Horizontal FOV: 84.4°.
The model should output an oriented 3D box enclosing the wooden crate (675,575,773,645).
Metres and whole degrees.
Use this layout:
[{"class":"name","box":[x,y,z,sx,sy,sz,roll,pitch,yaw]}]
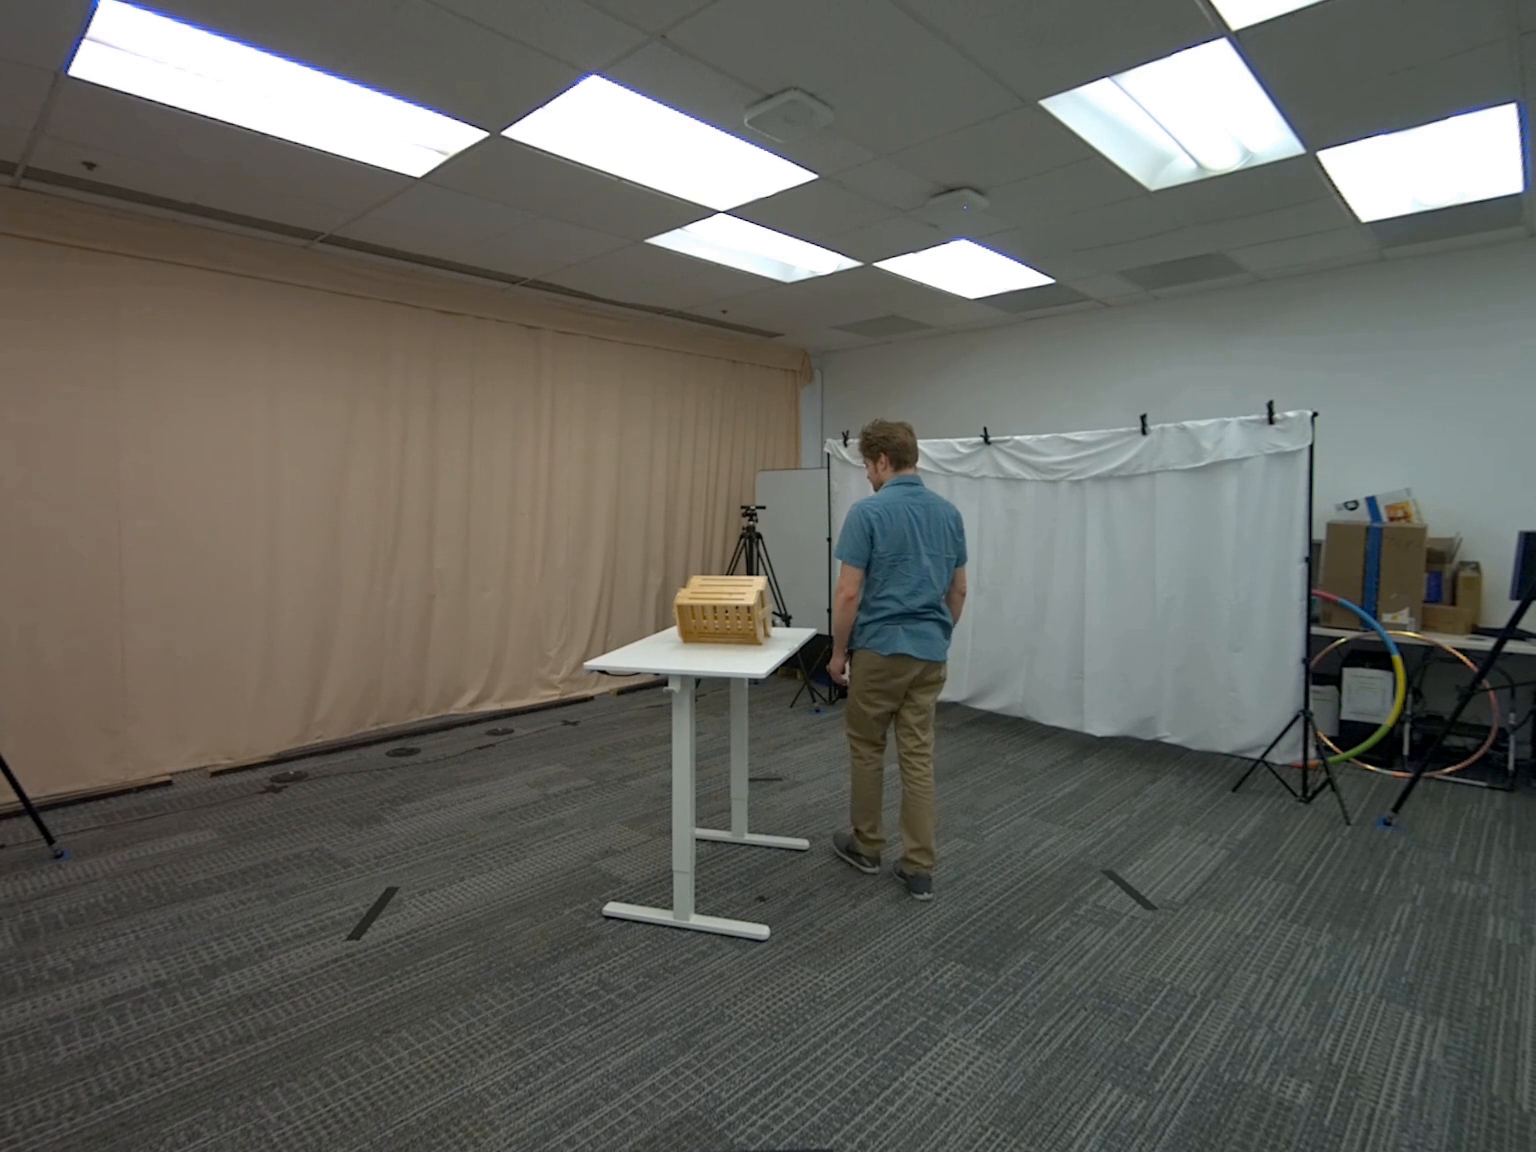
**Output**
[{"class":"wooden crate","box":[-0.162,0.159,3.160,0.329,0.296,0.275,1,30,12]}]
